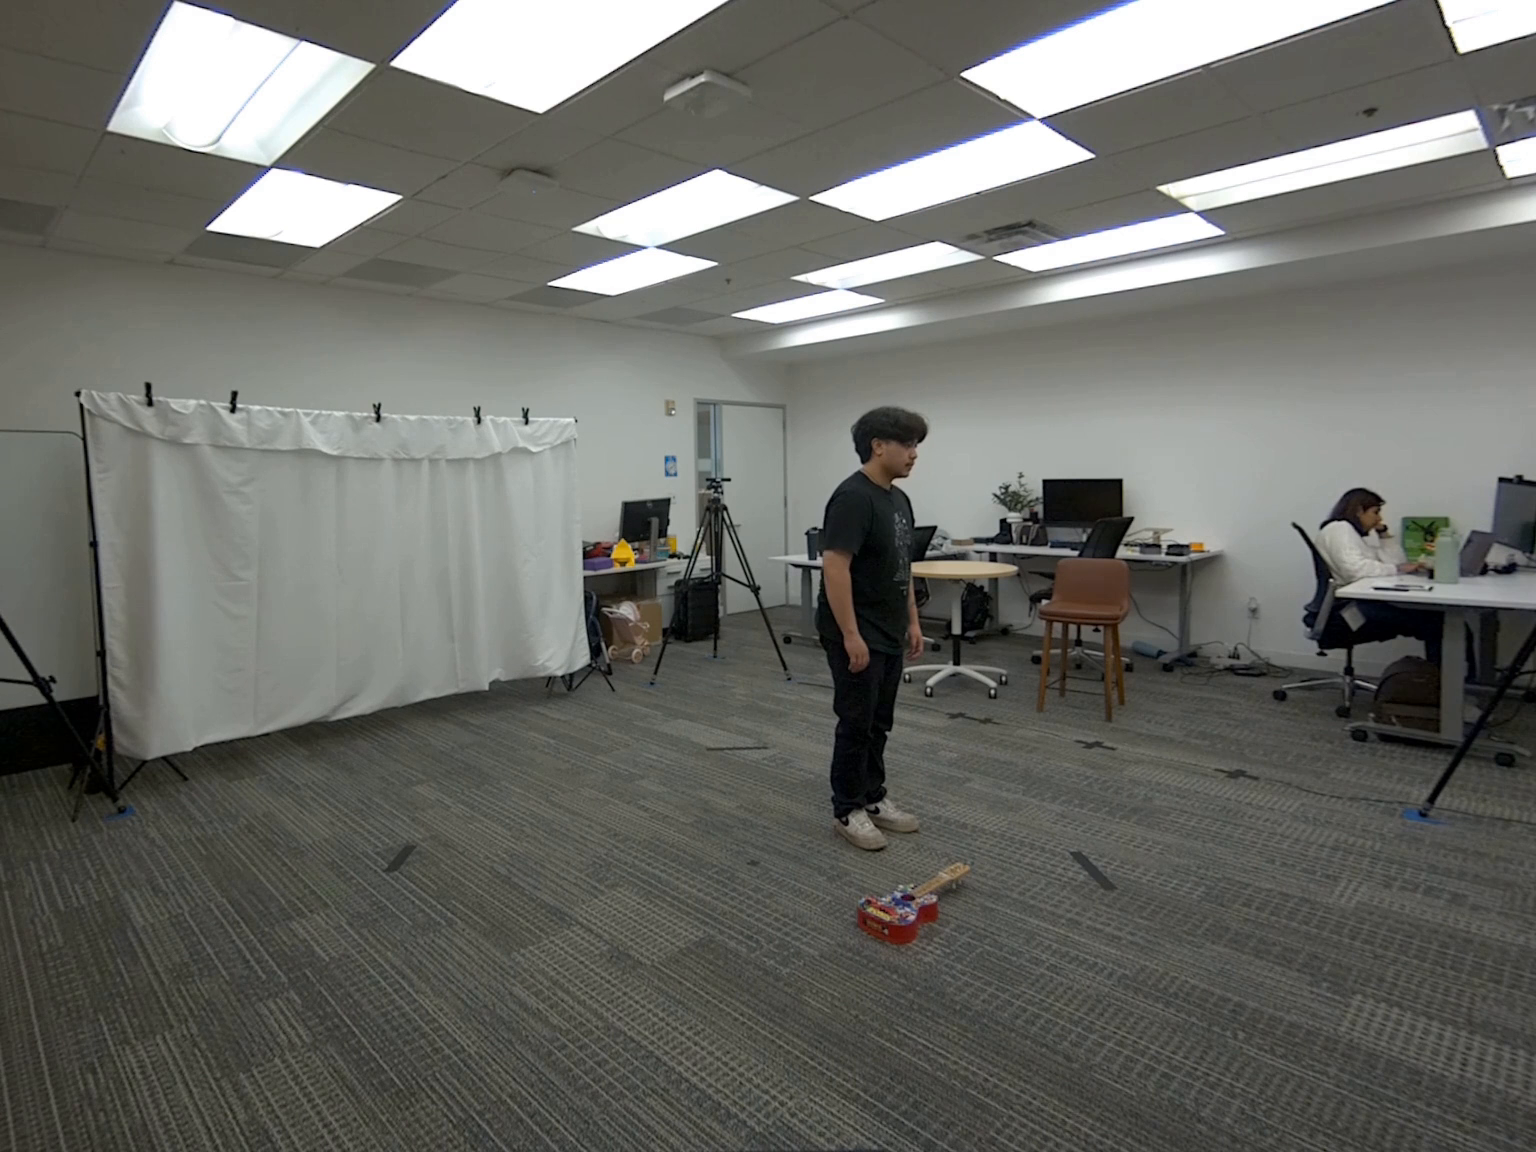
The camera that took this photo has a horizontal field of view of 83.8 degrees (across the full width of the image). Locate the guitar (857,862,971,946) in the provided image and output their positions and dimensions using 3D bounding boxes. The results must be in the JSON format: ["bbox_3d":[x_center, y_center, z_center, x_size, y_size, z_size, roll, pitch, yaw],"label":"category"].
[{"bbox_3d":[0.510,1.037,2.730,0.486,0.070,0.199,-6,8,-33],"label":"guitar"}]
